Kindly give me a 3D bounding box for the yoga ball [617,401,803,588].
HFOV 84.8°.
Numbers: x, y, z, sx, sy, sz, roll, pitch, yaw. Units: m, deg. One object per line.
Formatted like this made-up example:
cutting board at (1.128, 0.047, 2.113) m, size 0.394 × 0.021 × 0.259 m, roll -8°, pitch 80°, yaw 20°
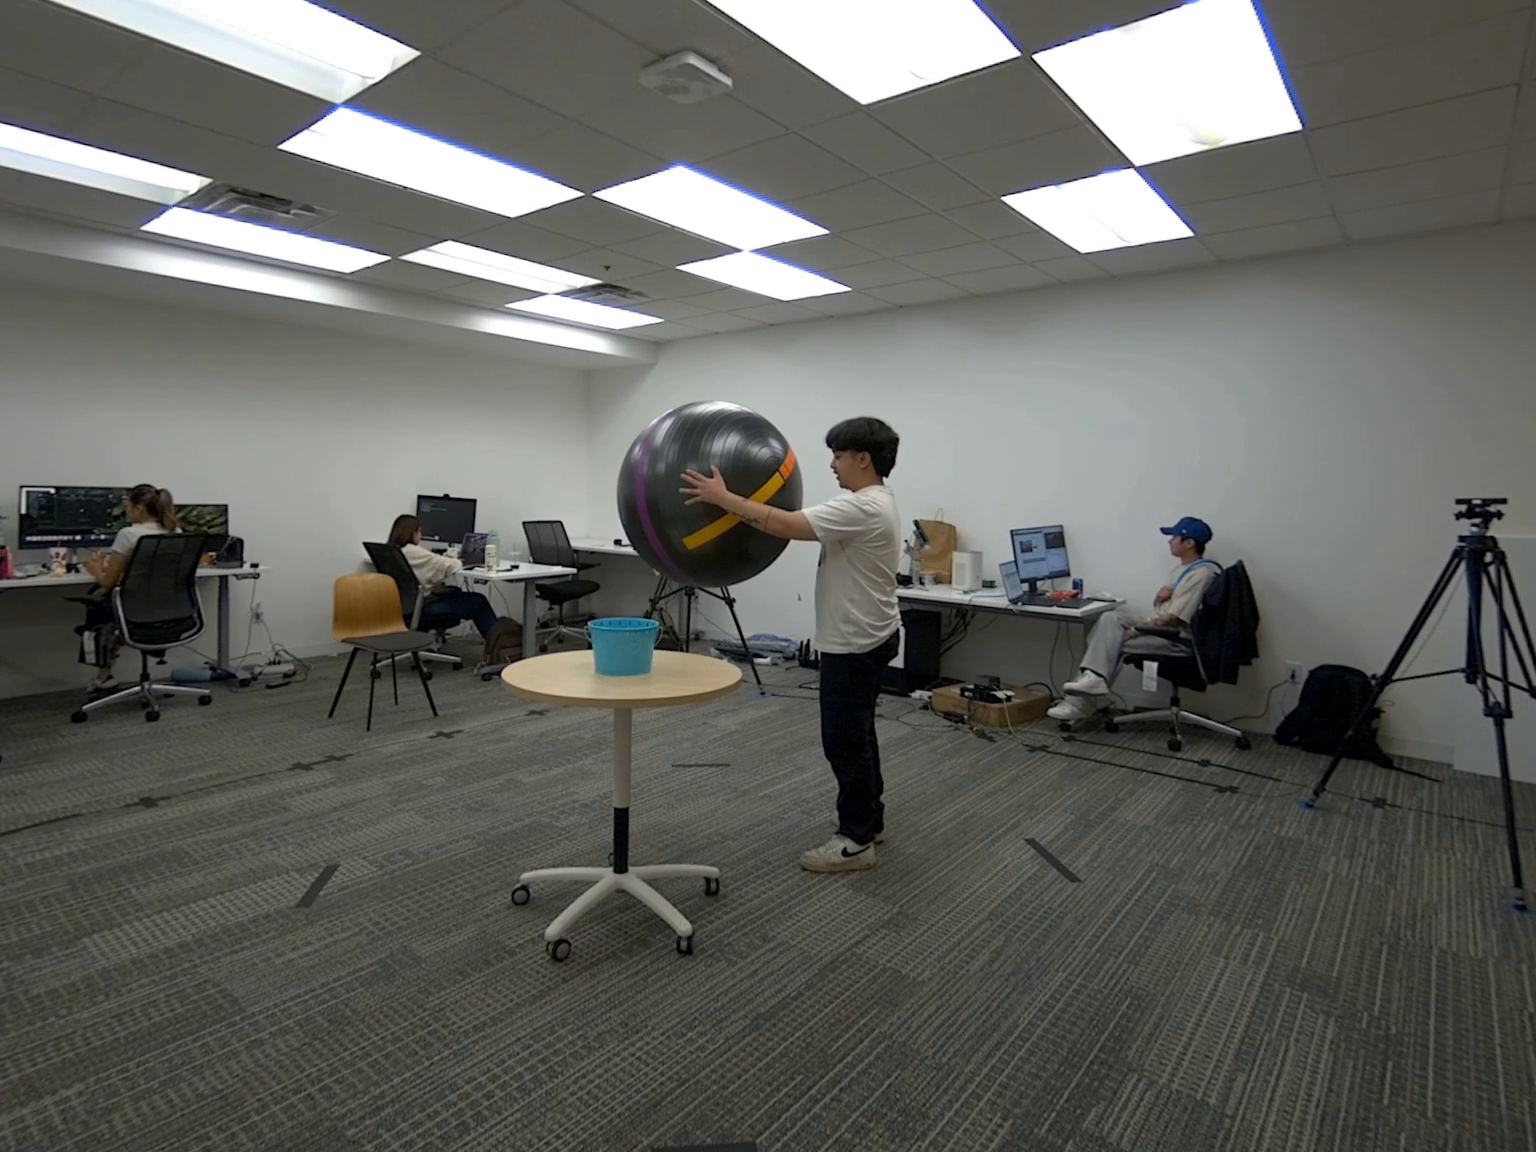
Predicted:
yoga ball at (-0.243, -0.328, 3.473) m, size 0.757 × 0.756 × 0.761 m, roll 1°, pitch 4°, yaw -2°
